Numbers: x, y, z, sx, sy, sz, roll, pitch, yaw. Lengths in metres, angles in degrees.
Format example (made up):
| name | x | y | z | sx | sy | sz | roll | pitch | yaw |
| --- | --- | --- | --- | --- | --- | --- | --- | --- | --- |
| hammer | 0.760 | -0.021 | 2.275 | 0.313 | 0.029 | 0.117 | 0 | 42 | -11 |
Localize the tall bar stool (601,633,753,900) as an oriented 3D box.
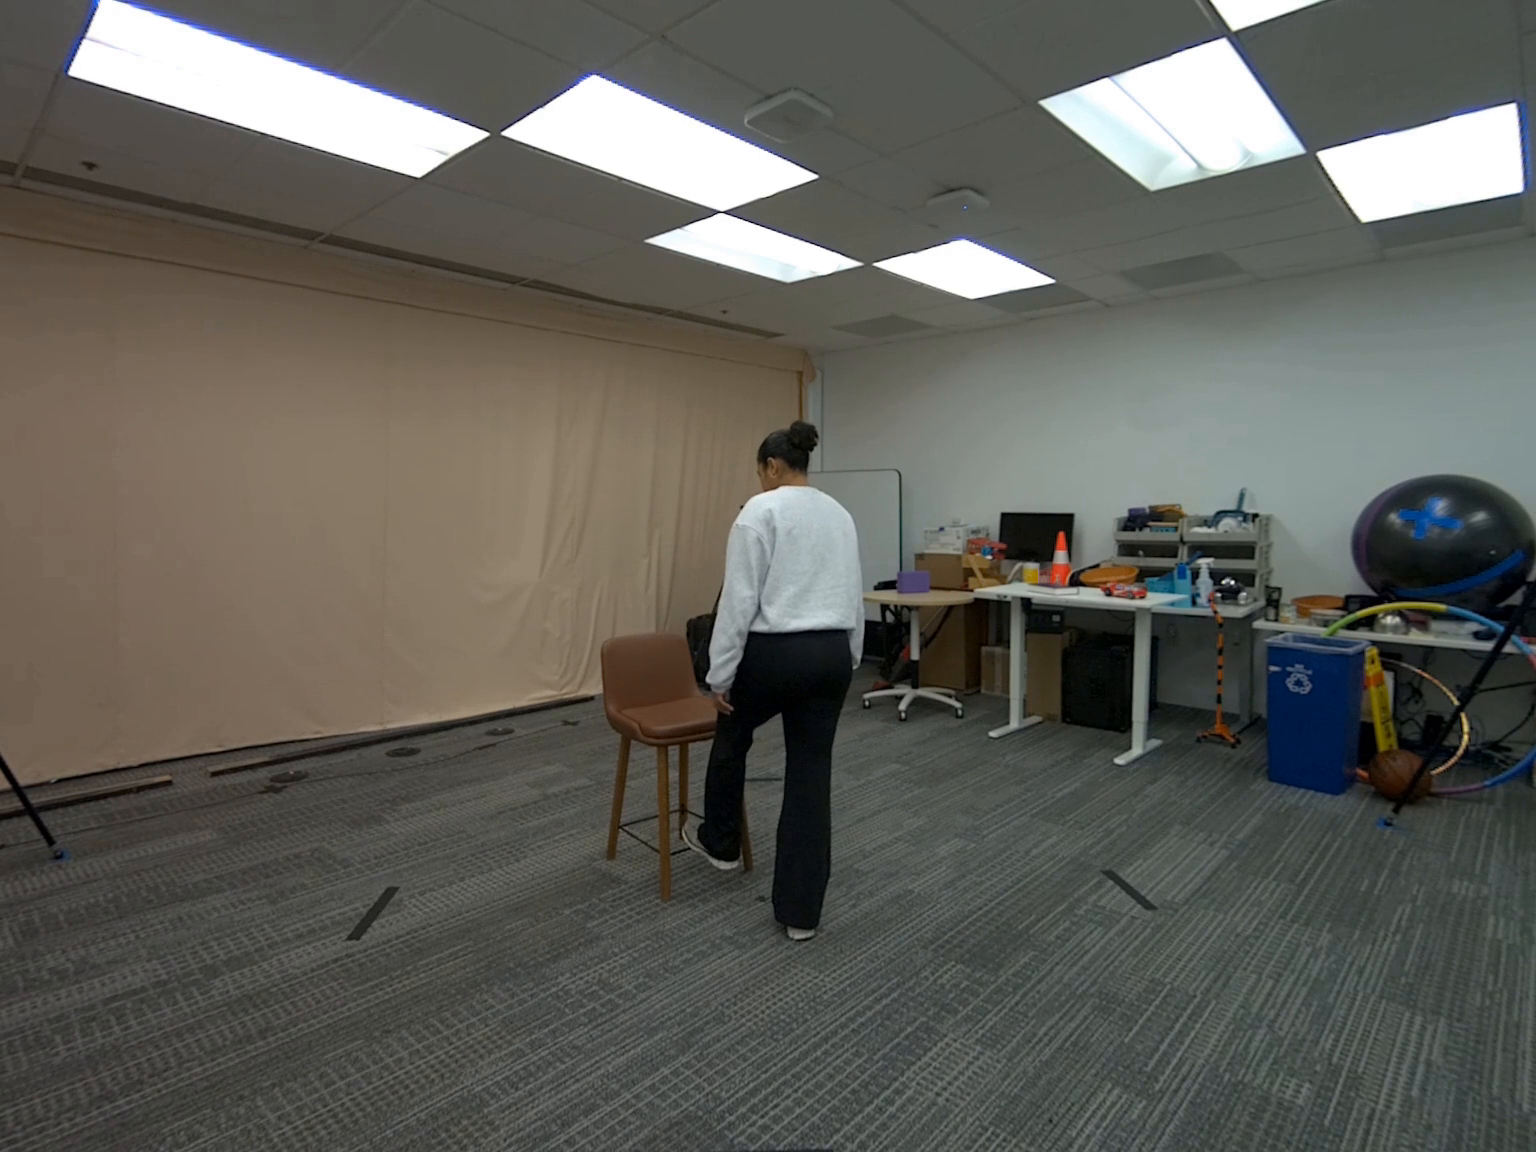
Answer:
| name | x | y | z | sx | sy | sz | roll | pitch | yaw |
| --- | --- | --- | --- | --- | --- | --- | --- | --- | --- |
| tall bar stool | -0.365 | 0.688 | 3.254 | 0.443 | 0.889 | 0.482 | -3 | 2 | -38 |
